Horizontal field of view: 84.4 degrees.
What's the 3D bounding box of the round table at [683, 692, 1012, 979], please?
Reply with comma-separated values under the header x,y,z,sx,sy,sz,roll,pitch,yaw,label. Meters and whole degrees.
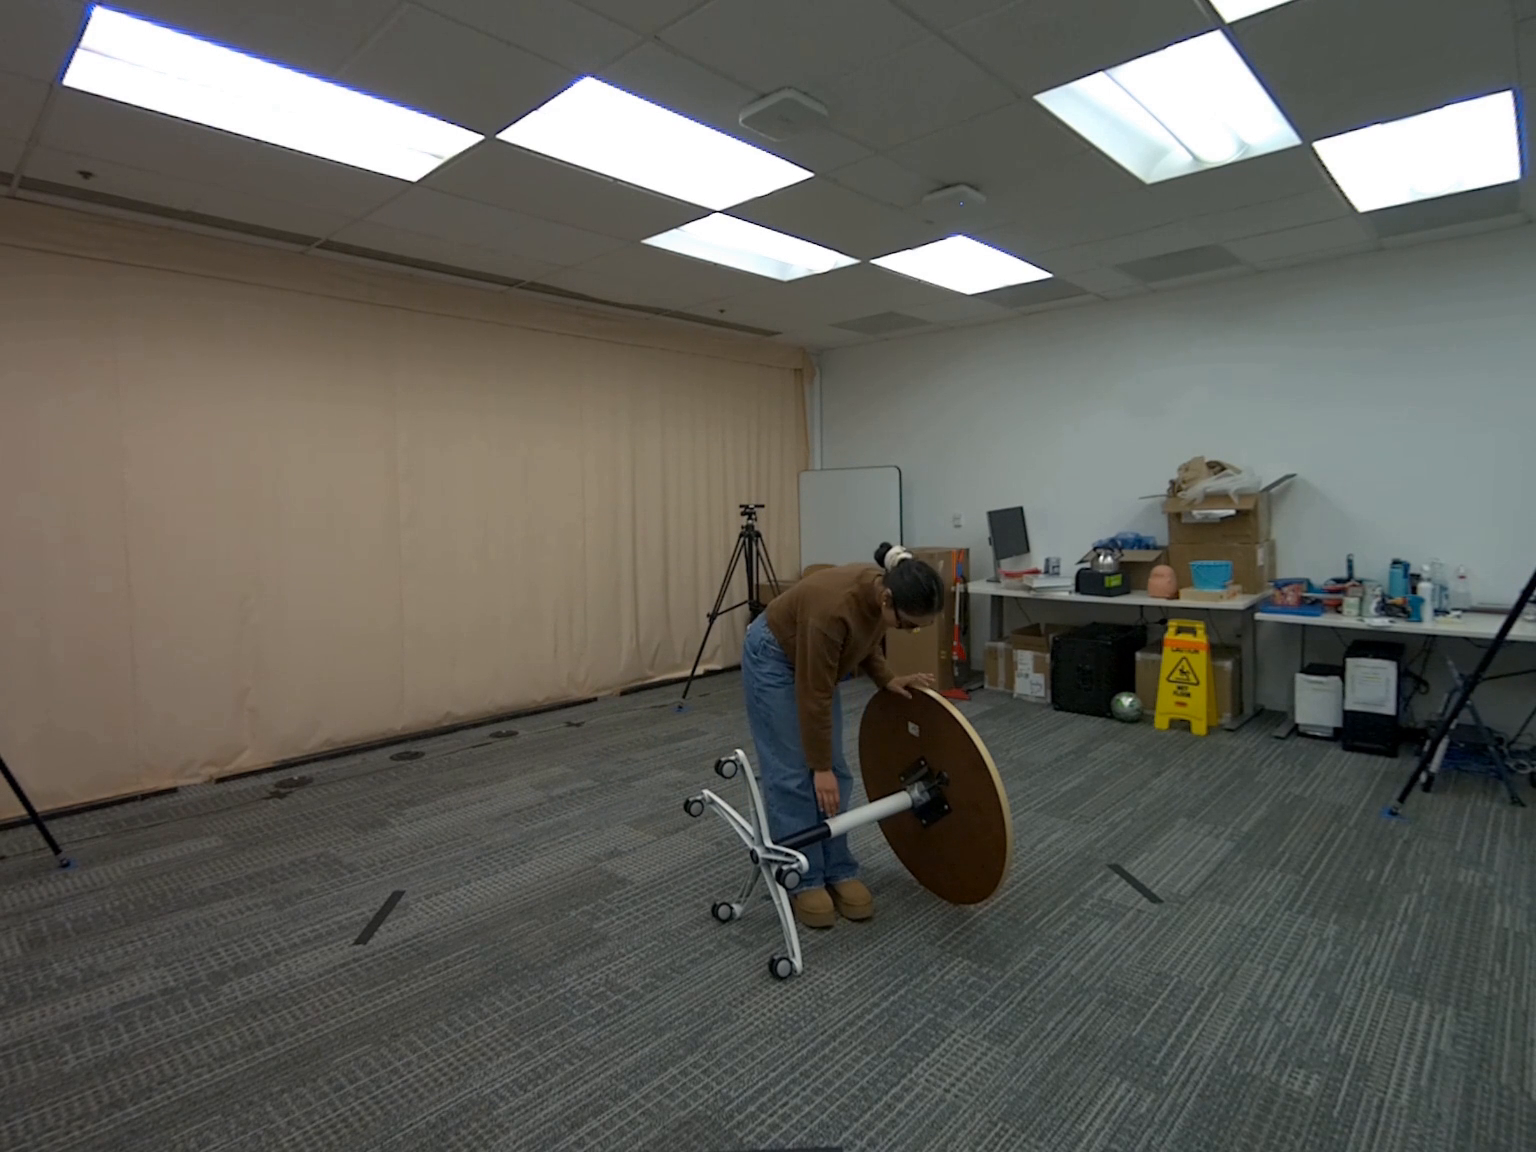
x,y,z,sx,sy,sz,roll,pitch,yaw,label
0.233,0.818,2.772,0.776,0.760,0.785,-11,8,-27,round table
